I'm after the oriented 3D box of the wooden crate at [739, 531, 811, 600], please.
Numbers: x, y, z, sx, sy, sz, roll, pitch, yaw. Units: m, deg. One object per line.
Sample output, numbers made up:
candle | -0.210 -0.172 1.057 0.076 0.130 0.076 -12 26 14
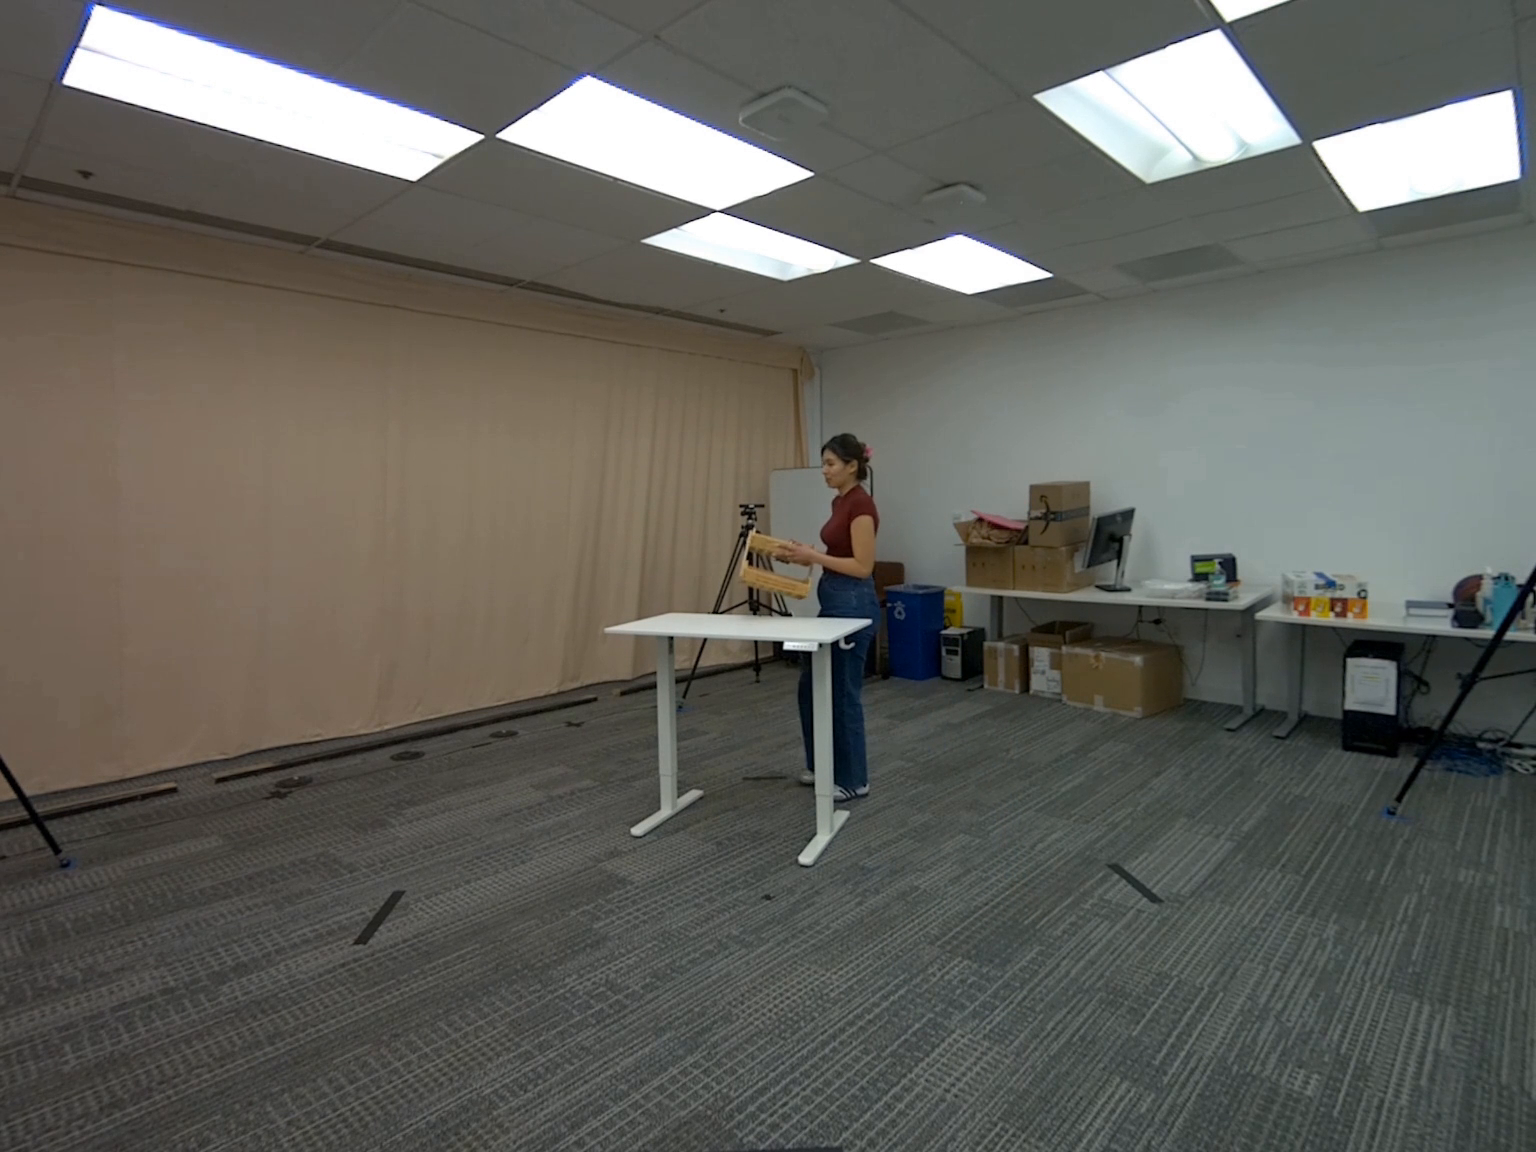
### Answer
wooden crate | 0.056 -0.060 3.896 0.323 0.274 0.302 15 -7 -4
